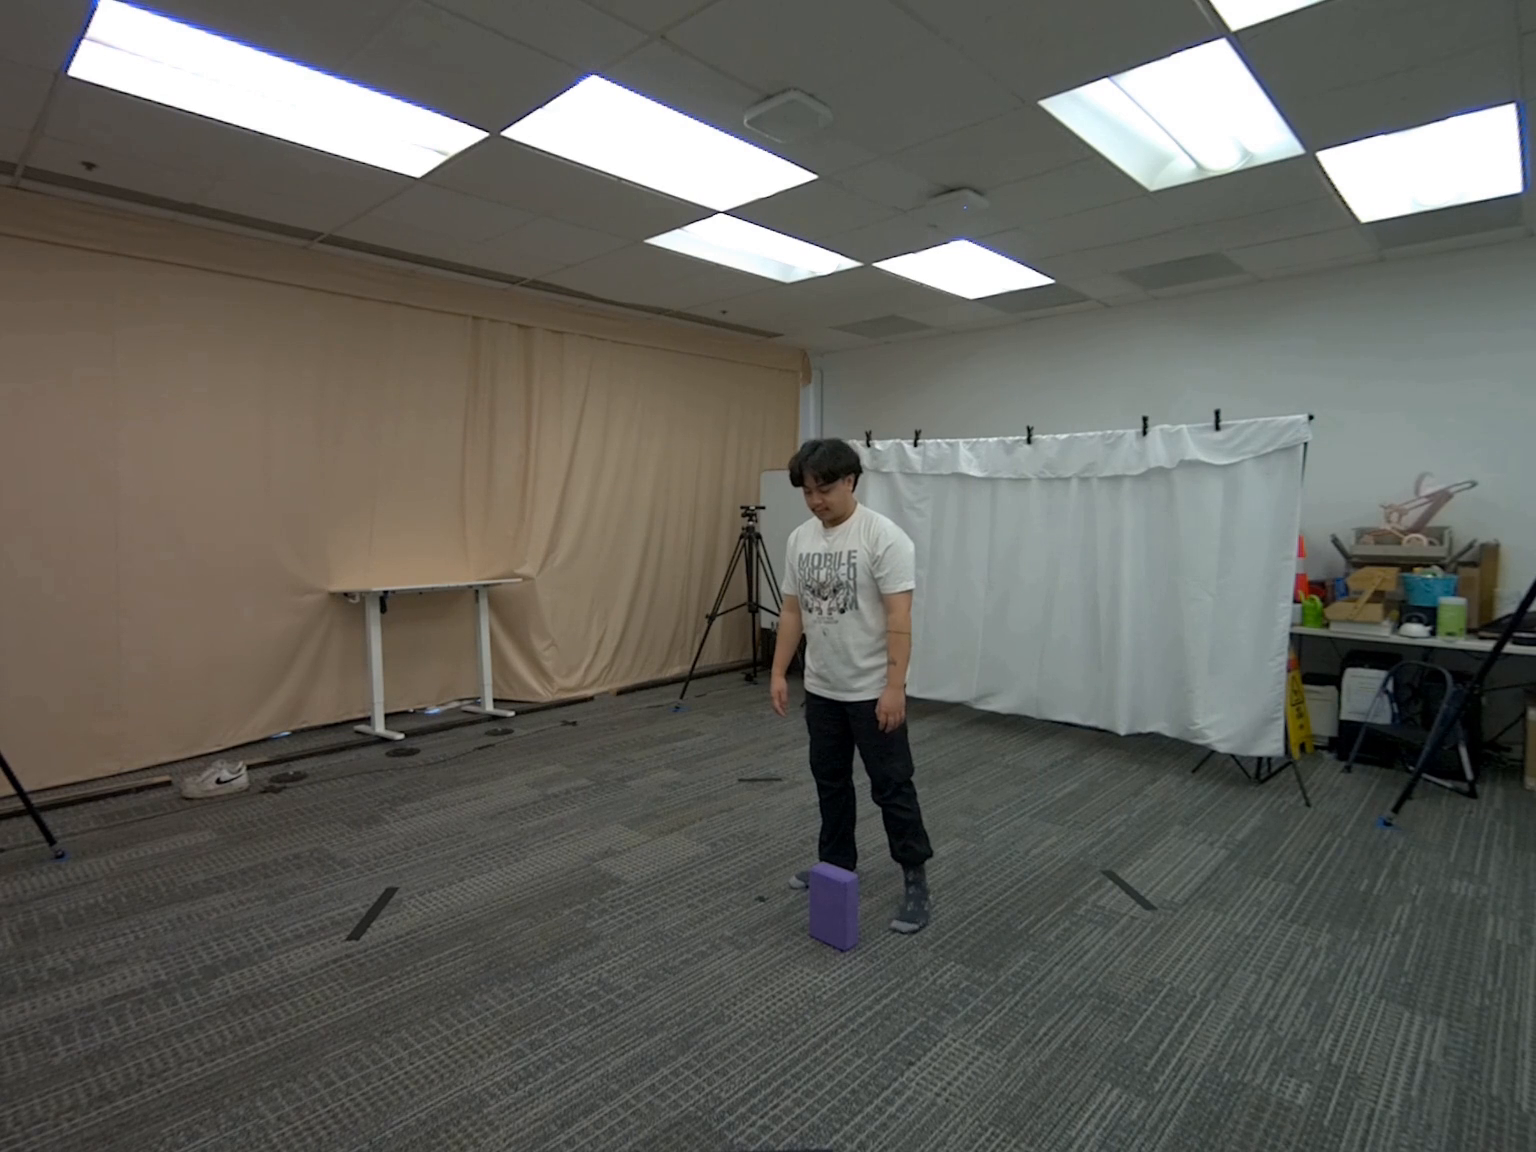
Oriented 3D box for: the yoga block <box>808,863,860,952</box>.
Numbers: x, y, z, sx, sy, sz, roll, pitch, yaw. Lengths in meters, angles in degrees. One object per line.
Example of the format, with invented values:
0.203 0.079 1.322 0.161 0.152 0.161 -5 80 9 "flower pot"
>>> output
0.213 1.055 2.688 0.154 0.229 0.074 4 5 42 "yoga block"
